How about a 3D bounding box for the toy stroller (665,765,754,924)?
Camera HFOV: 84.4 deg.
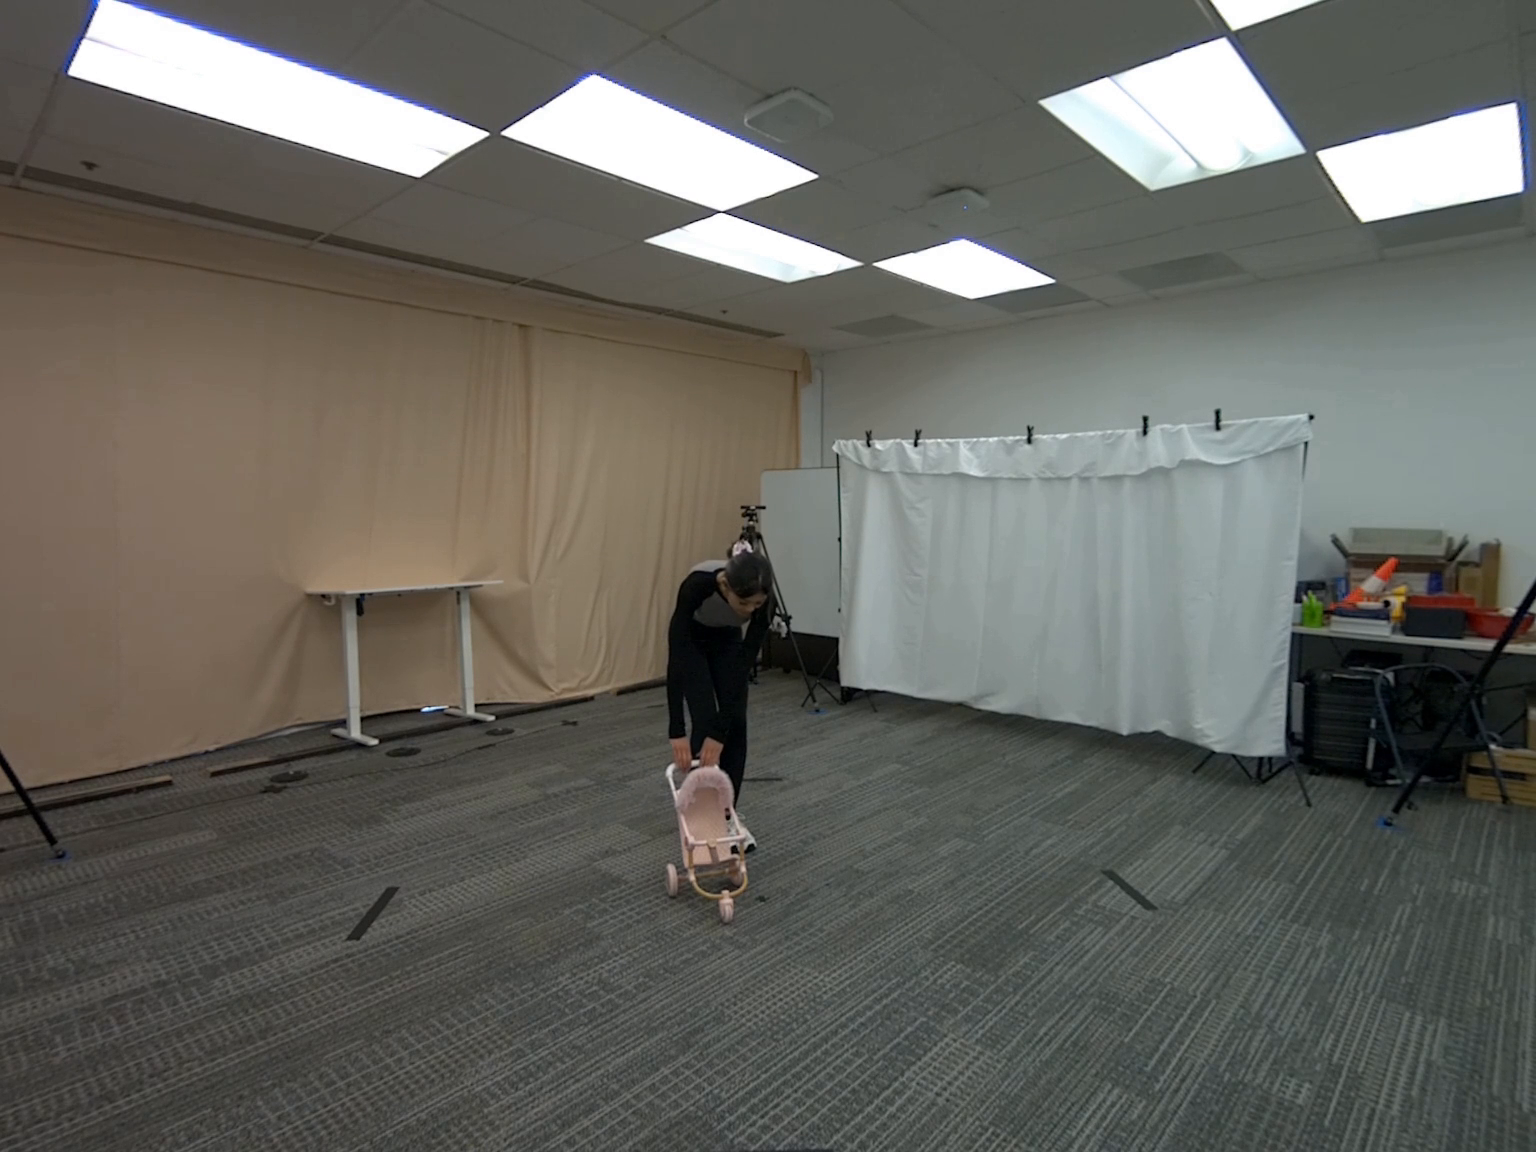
[{"bbox_3d":[-0.212,0.914,2.984,0.277,0.540,0.344,-2,-13,-17],"label":"toy stroller"}]
